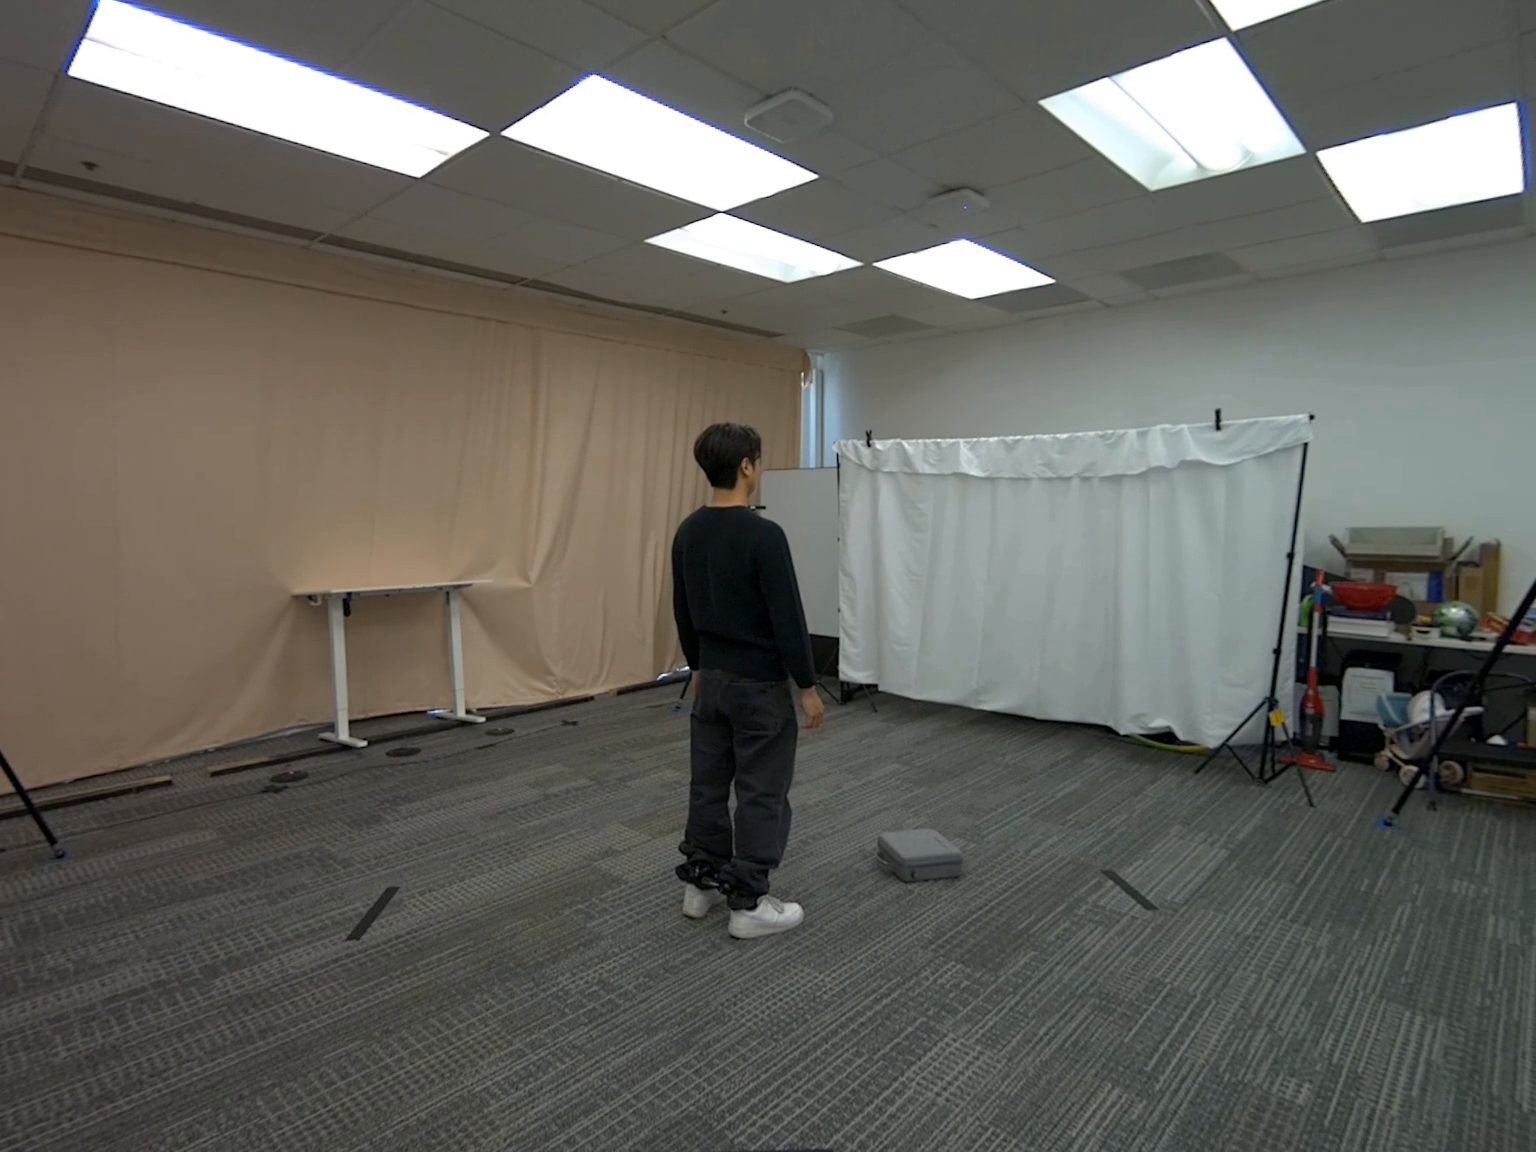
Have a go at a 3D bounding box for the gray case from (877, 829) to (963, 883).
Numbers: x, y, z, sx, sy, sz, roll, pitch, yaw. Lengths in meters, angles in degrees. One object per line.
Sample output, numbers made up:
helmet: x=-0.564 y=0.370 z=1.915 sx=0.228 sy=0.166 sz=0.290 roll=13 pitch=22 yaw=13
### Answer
gray case: x=0.582 y=1.065 z=3.232 sx=0.257 sy=0.104 sz=0.261 roll=-2 pitch=6 yaw=-13
